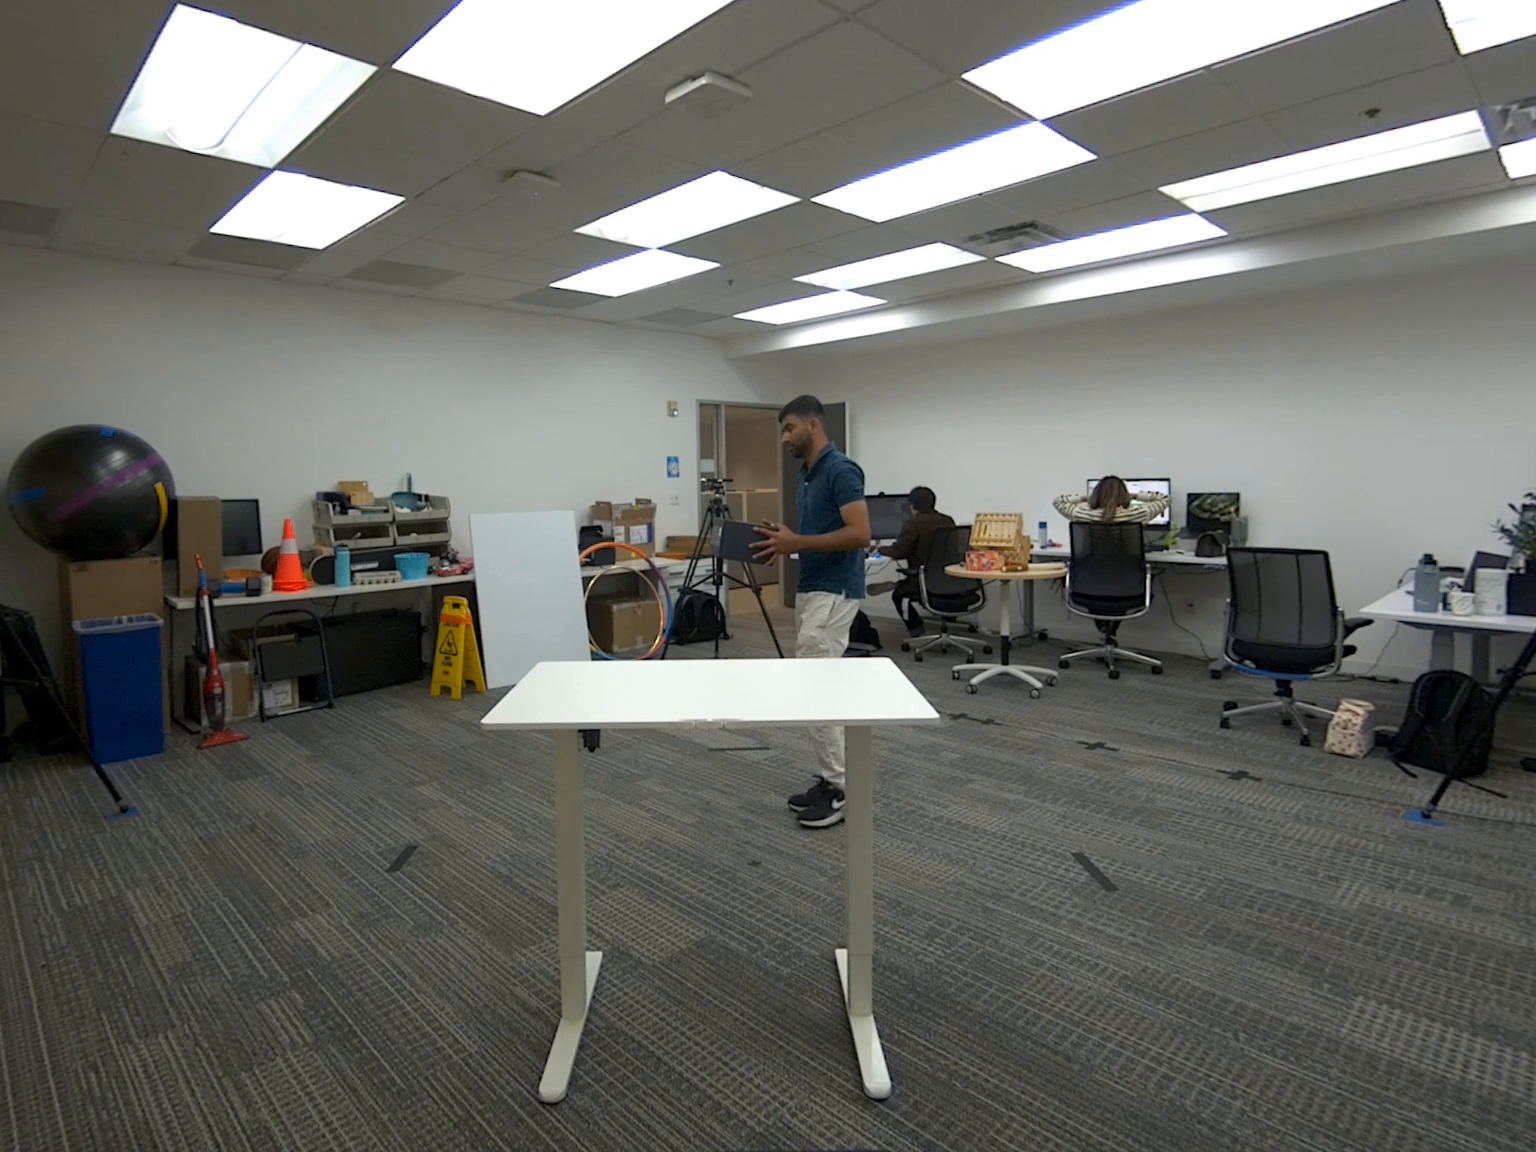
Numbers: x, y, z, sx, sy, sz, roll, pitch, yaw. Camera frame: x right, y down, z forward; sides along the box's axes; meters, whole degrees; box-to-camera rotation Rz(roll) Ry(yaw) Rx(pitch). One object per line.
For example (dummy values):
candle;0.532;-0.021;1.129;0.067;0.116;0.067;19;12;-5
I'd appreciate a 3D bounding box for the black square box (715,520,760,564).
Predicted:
black square box;-0.091;-0.143;3.510;0.226;0.155;0.219;7;5;-7
